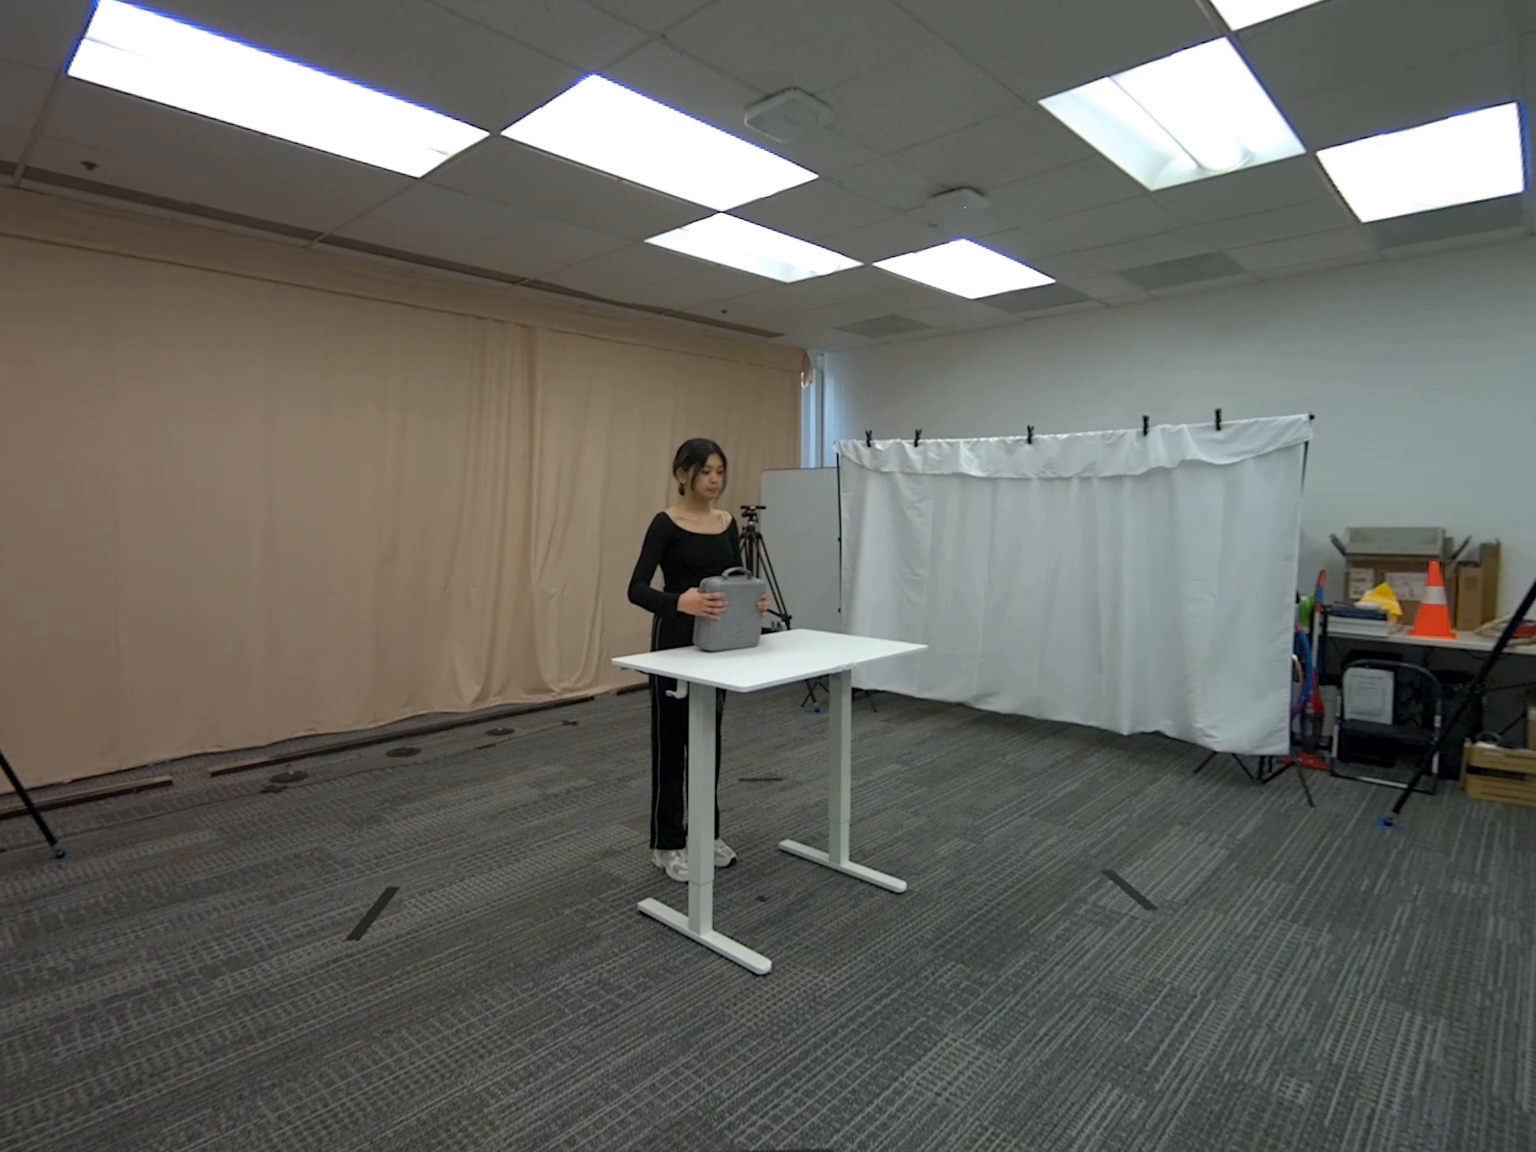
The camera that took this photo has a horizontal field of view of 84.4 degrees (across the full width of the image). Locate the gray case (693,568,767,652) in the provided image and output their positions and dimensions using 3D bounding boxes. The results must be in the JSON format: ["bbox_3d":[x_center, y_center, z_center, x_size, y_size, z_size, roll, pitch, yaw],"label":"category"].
[{"bbox_3d":[-0.132,0.128,2.987,0.249,0.259,0.108,-2,12,-40],"label":"gray case"}]
